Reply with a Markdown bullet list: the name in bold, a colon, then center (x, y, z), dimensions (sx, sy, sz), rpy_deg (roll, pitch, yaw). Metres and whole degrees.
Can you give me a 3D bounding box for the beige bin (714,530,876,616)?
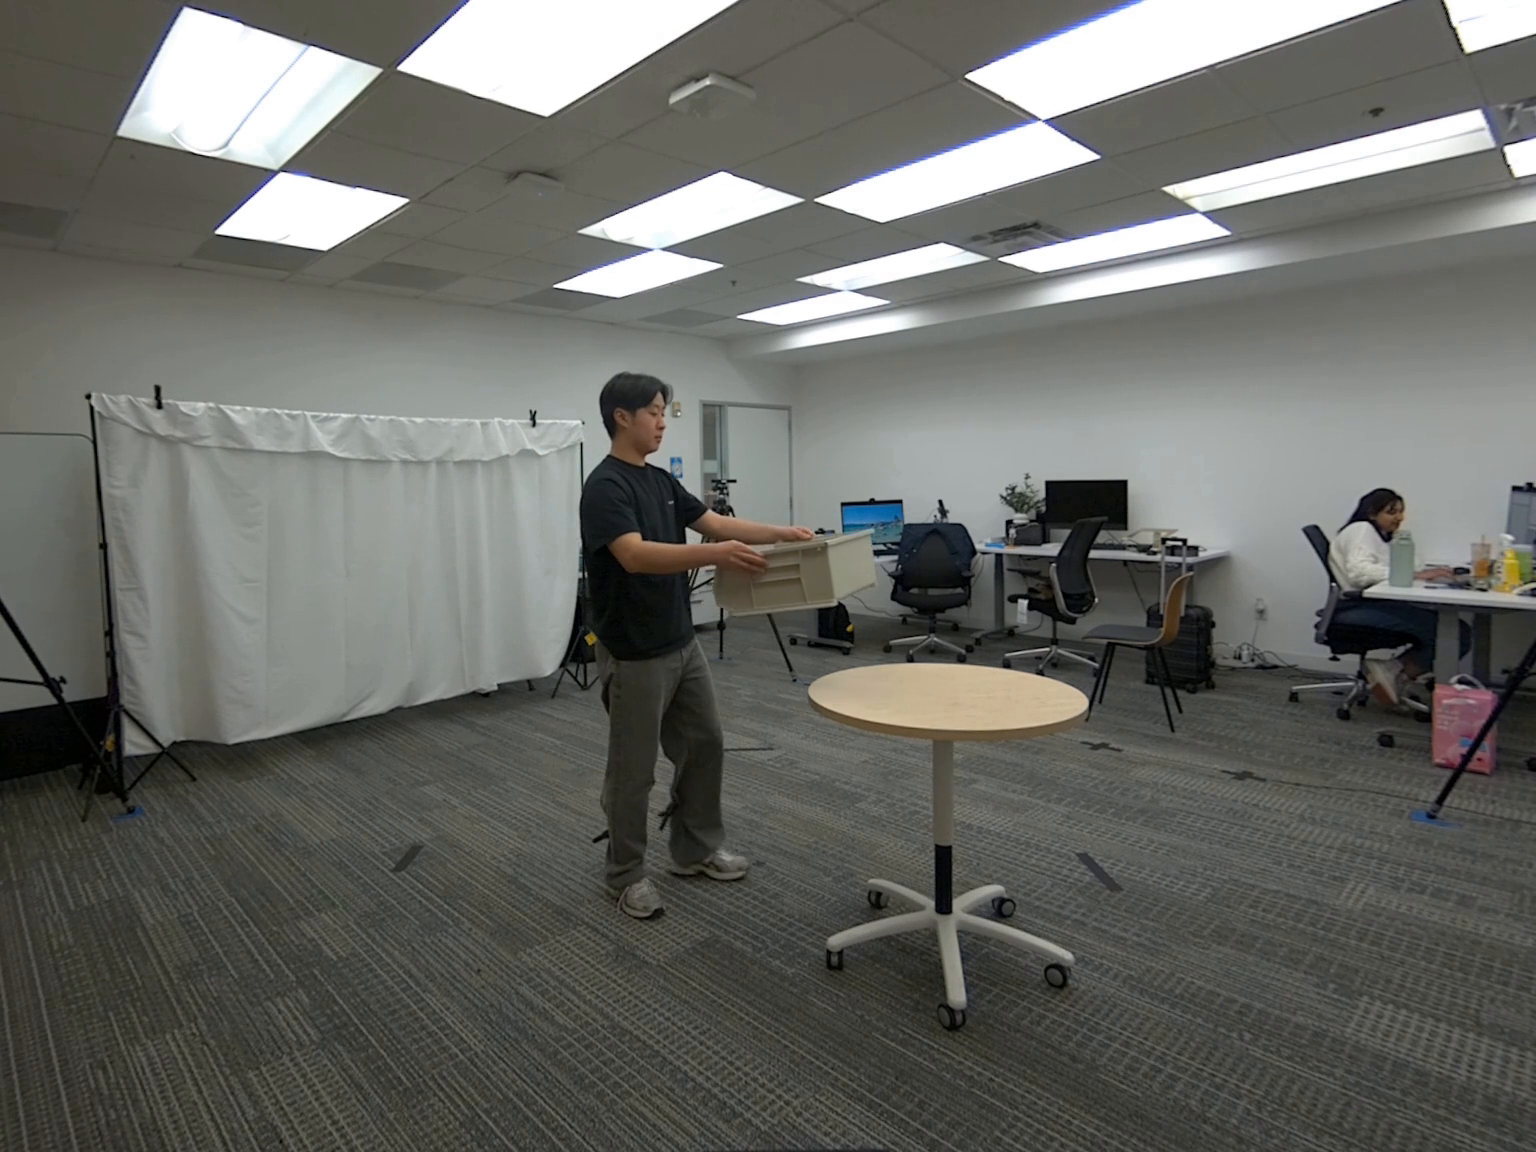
- **beige bin**: center (0.092, -0.002, 2.586), dimensions (0.385, 0.189, 0.414), rpy_deg (-6, 3, 27)
